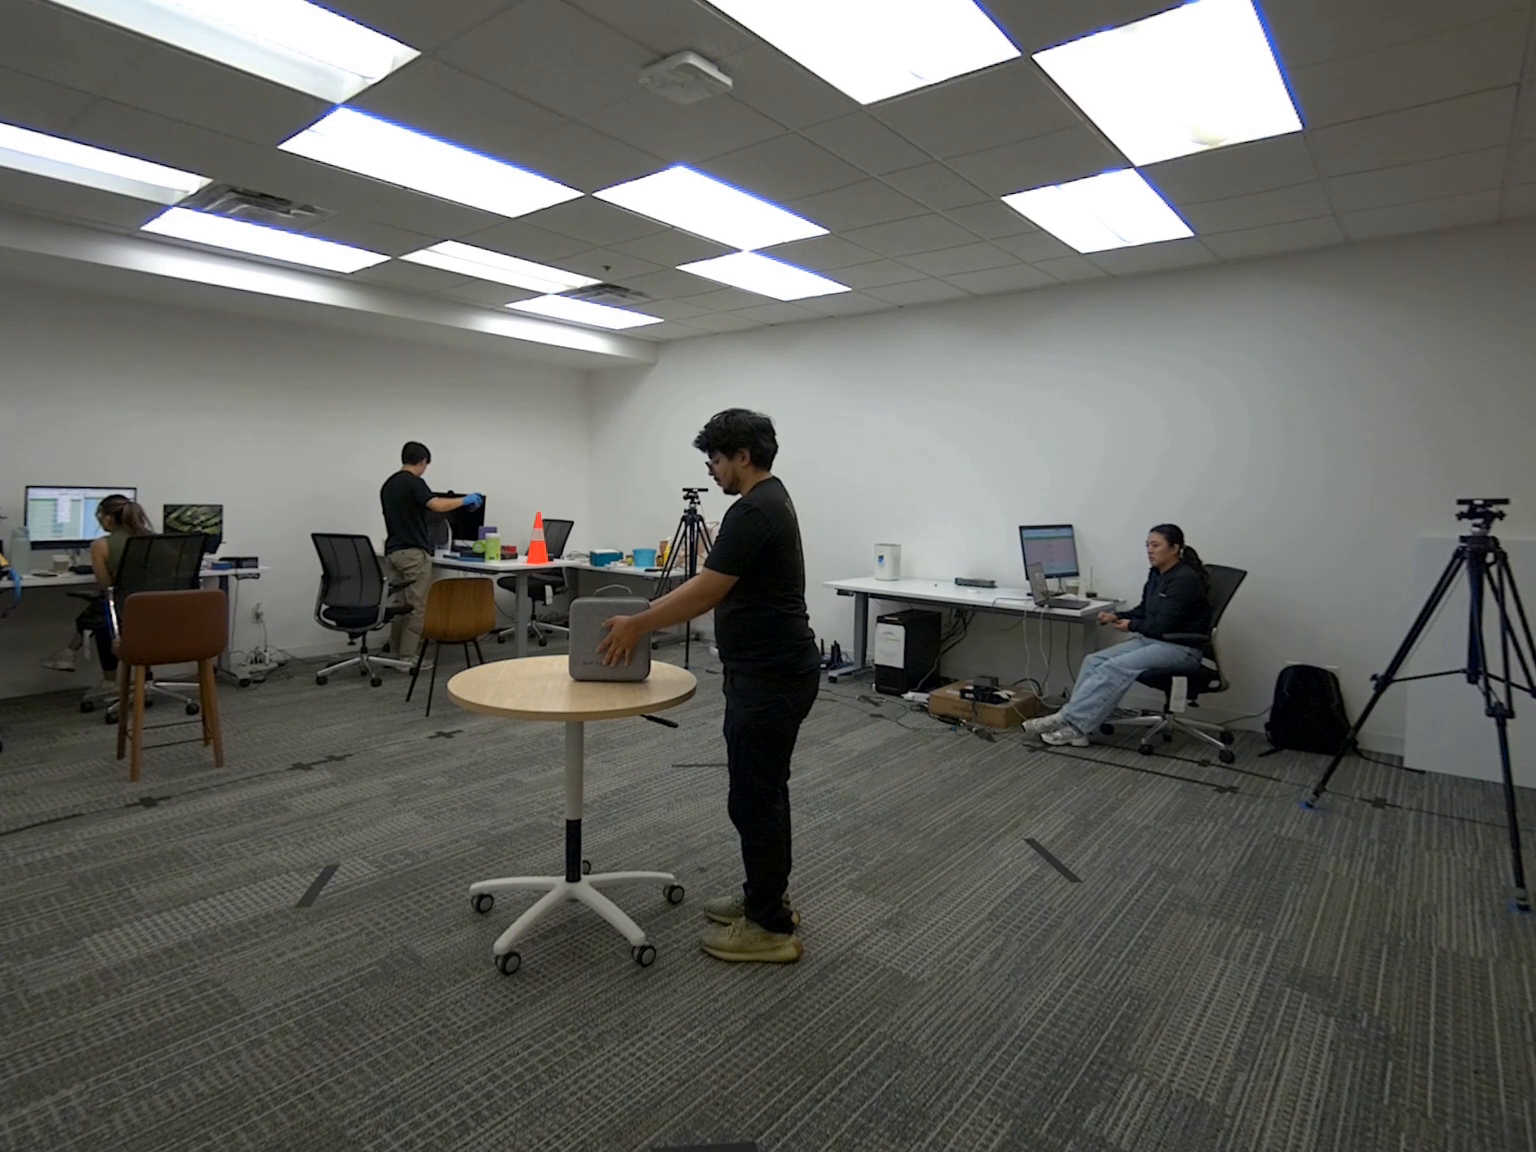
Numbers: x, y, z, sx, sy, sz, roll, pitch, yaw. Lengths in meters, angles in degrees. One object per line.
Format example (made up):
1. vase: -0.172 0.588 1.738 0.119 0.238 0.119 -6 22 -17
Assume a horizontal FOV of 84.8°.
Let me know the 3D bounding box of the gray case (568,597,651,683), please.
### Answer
1. gray case: -0.512 0.188 2.690 0.257 0.261 0.104 1 -2 1
